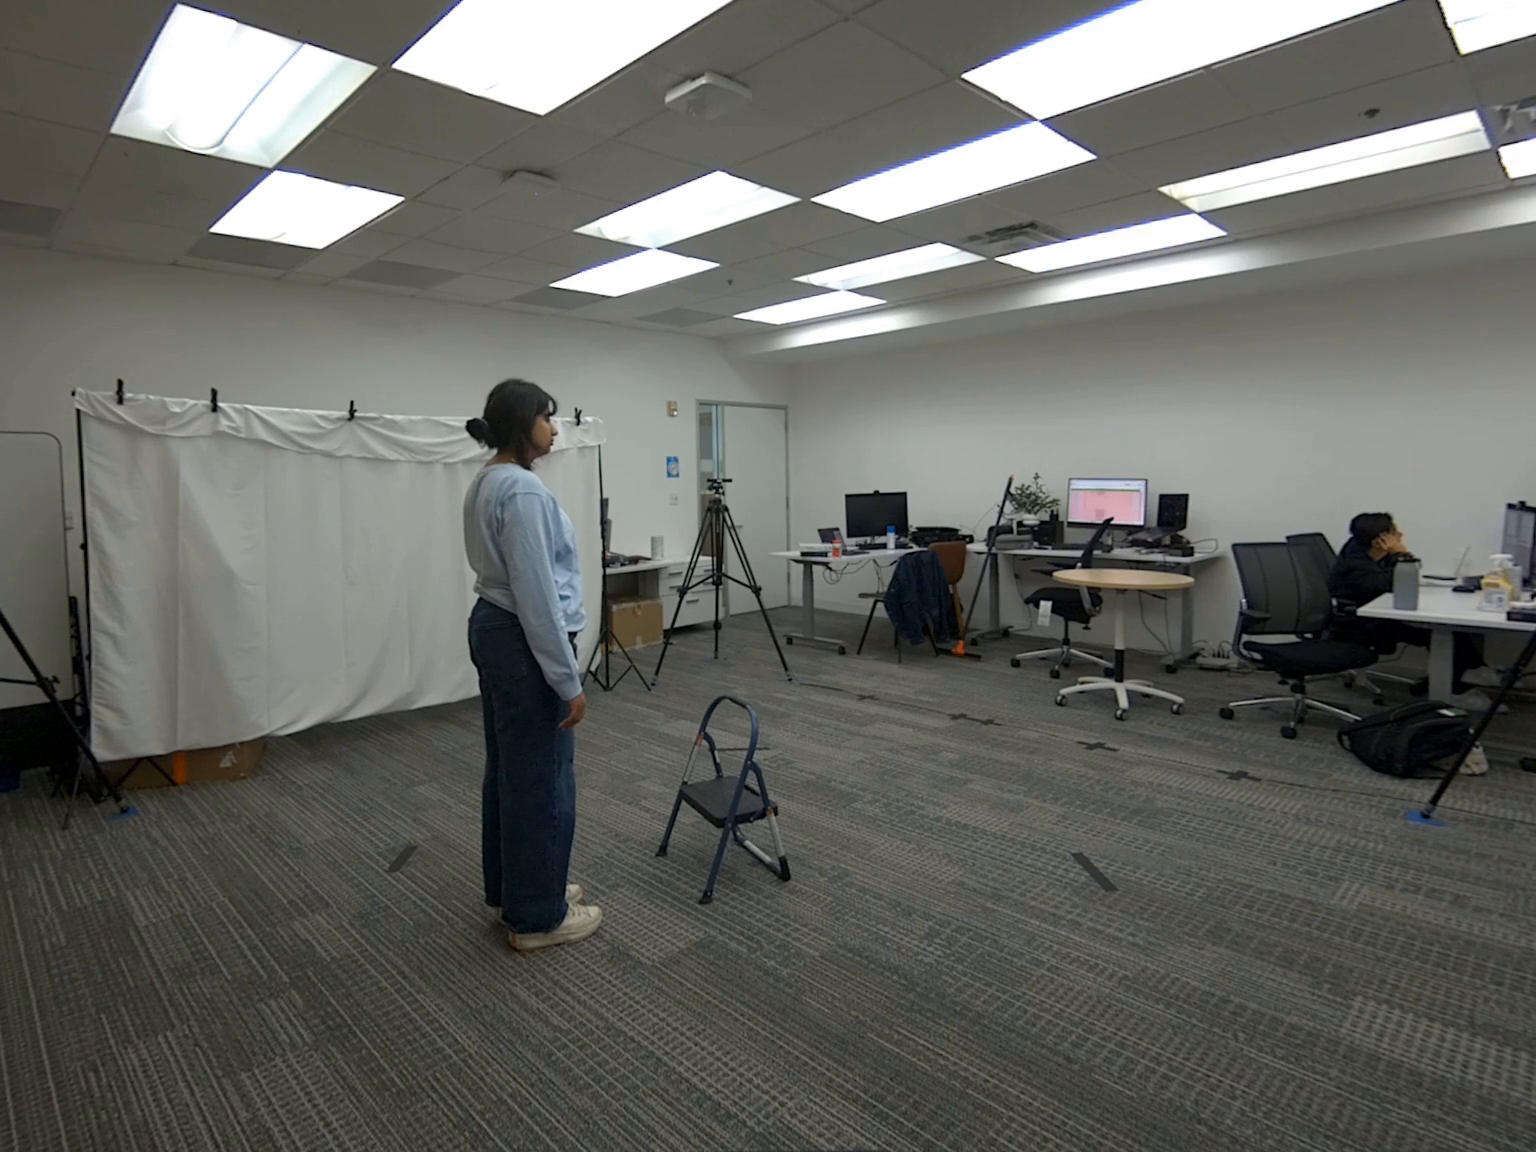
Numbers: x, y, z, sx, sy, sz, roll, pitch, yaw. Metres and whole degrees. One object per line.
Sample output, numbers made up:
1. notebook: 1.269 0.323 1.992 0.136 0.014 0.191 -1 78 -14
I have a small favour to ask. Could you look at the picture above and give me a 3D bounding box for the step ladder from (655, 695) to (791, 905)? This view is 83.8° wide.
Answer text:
1. step ladder: -0.169 0.746 3.056 0.341 0.603 0.442 -3 6 -28
